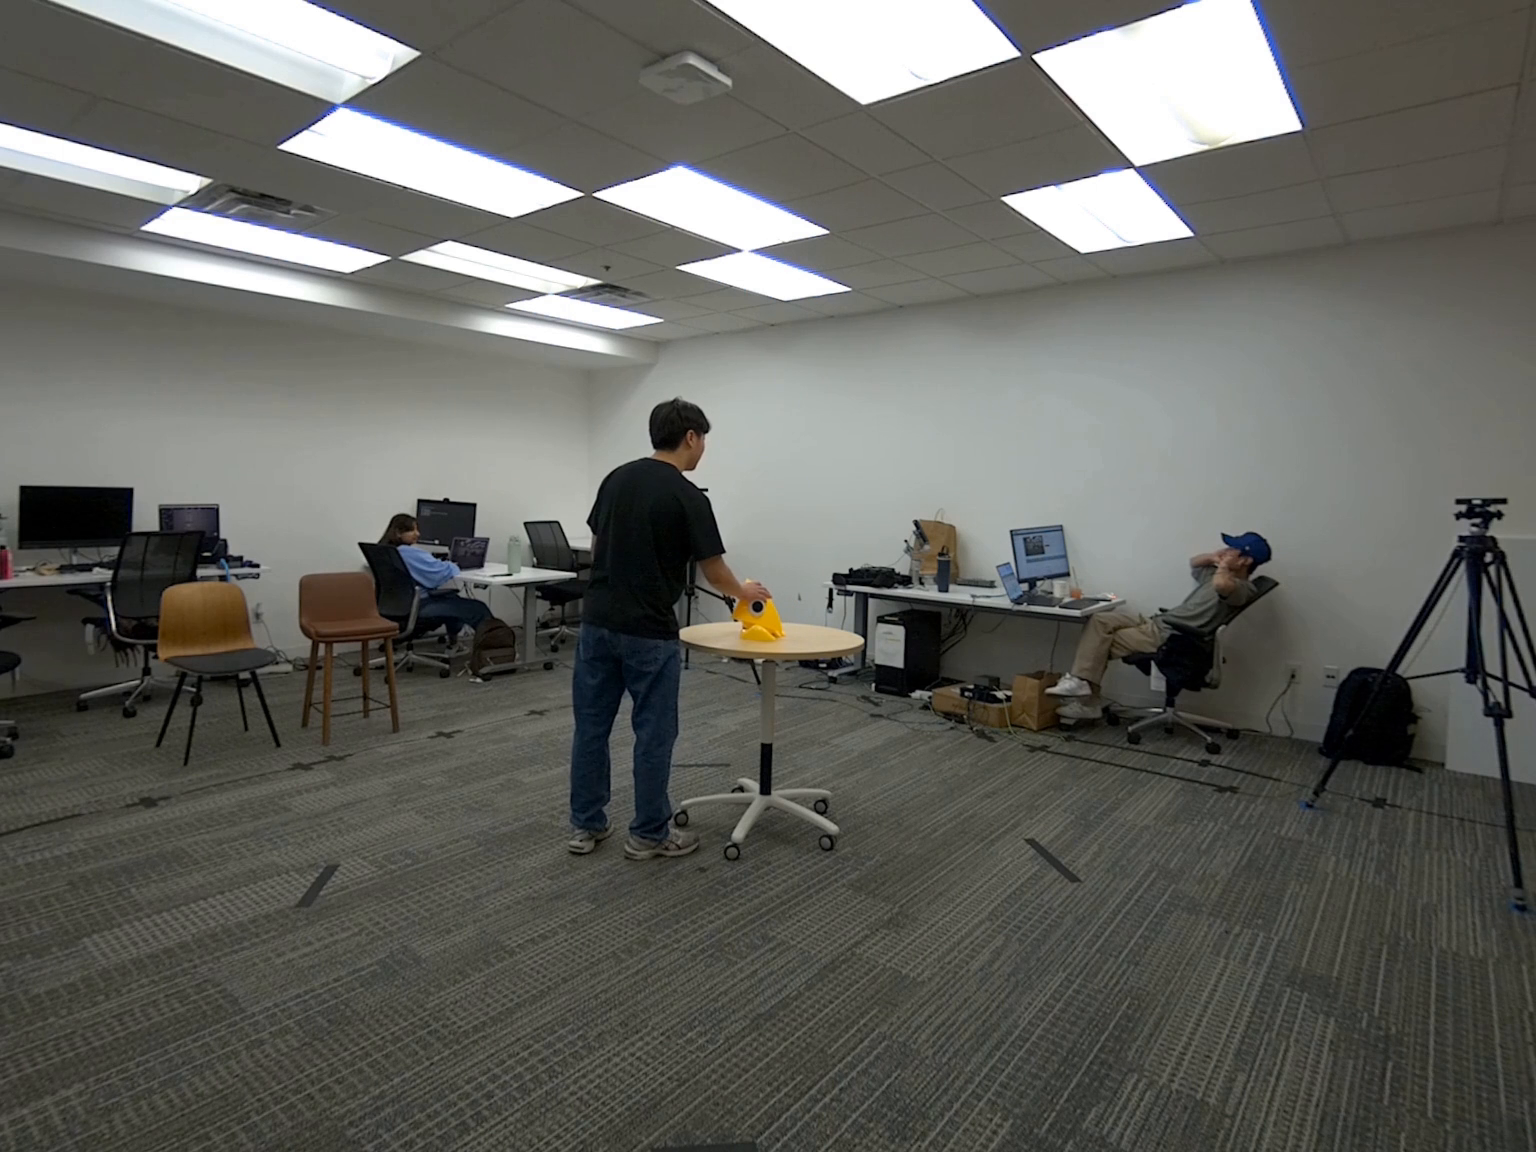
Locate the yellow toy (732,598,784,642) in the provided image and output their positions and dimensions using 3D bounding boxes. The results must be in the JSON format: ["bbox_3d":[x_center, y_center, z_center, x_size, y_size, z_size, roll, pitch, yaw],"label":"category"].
[{"bbox_3d":[-0.042,0.132,3.448,0.197,0.230,0.201,2,4,22],"label":"yellow toy"}]
